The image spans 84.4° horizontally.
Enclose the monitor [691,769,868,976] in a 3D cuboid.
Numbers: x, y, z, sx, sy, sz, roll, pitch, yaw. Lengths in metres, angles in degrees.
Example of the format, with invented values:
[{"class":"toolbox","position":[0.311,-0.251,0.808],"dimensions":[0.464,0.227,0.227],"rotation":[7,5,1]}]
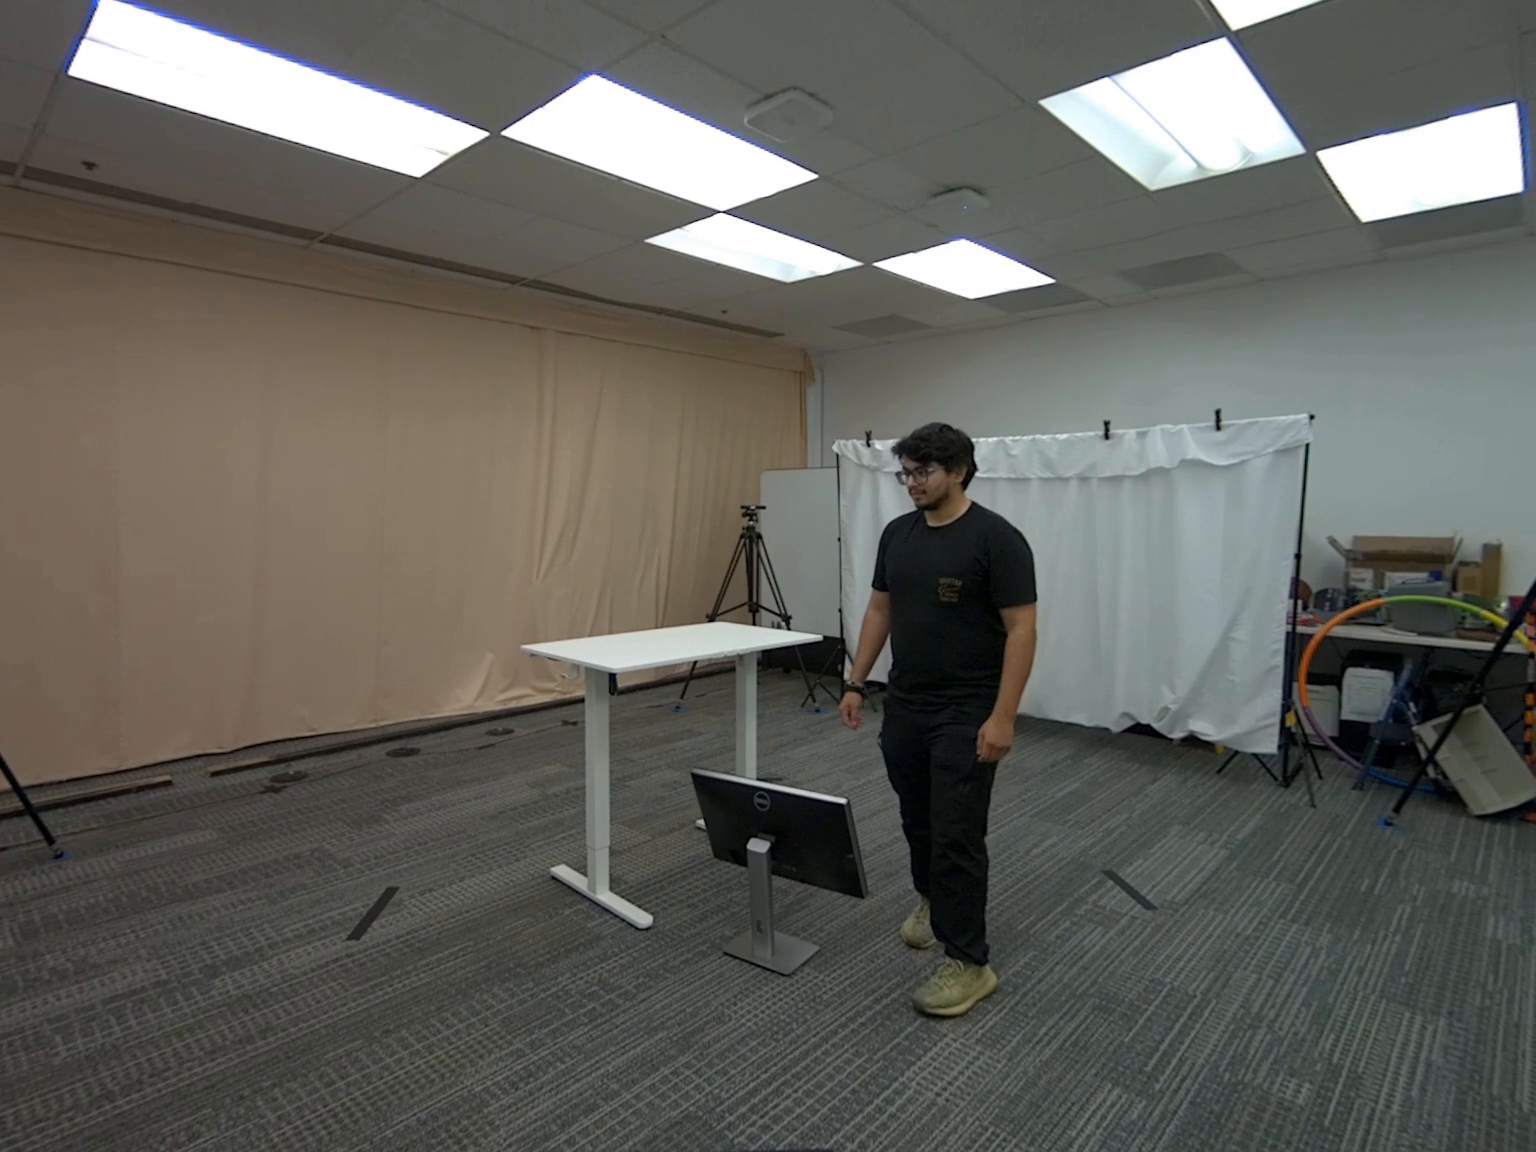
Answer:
[{"class":"monitor","position":[0.001,0.914,2.595],"dimensions":[0.582,0.549,0.205],"rotation":[2,14,33]}]
